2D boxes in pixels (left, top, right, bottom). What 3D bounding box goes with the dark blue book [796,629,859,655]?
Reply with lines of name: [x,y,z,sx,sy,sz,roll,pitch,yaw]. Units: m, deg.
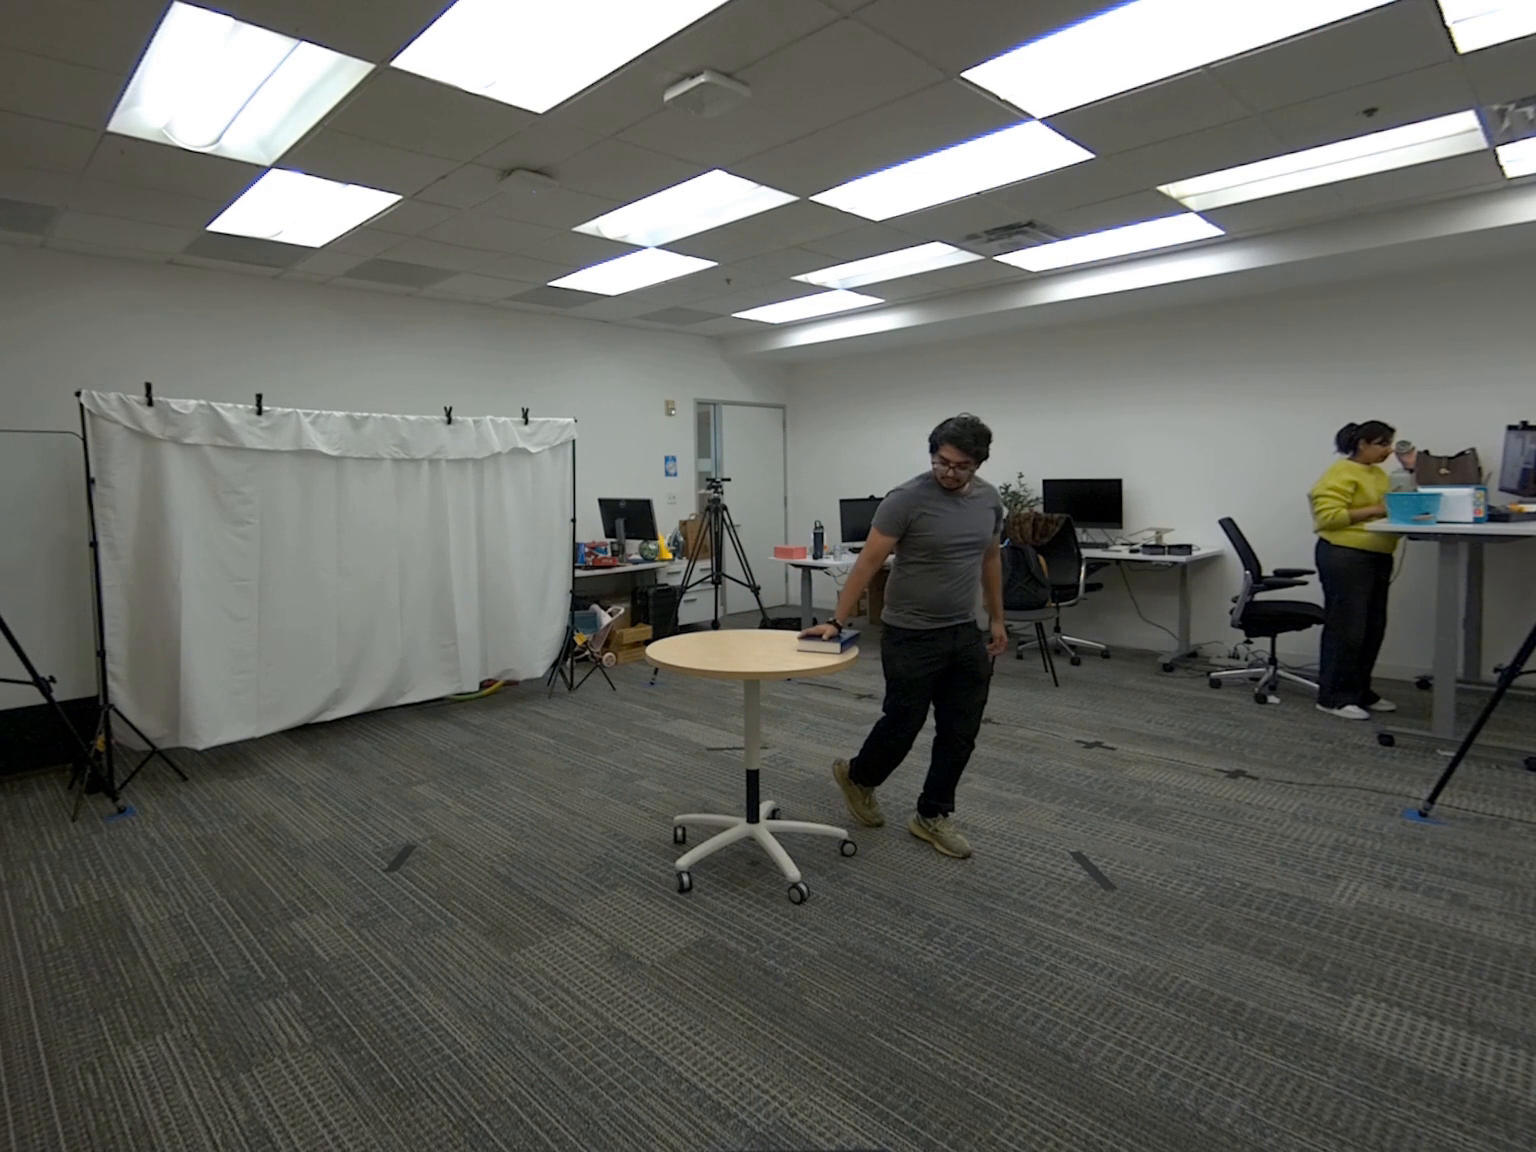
dark blue book: [0.229,0.234,3.111,0.167,0.045,0.241,2,8,22]
